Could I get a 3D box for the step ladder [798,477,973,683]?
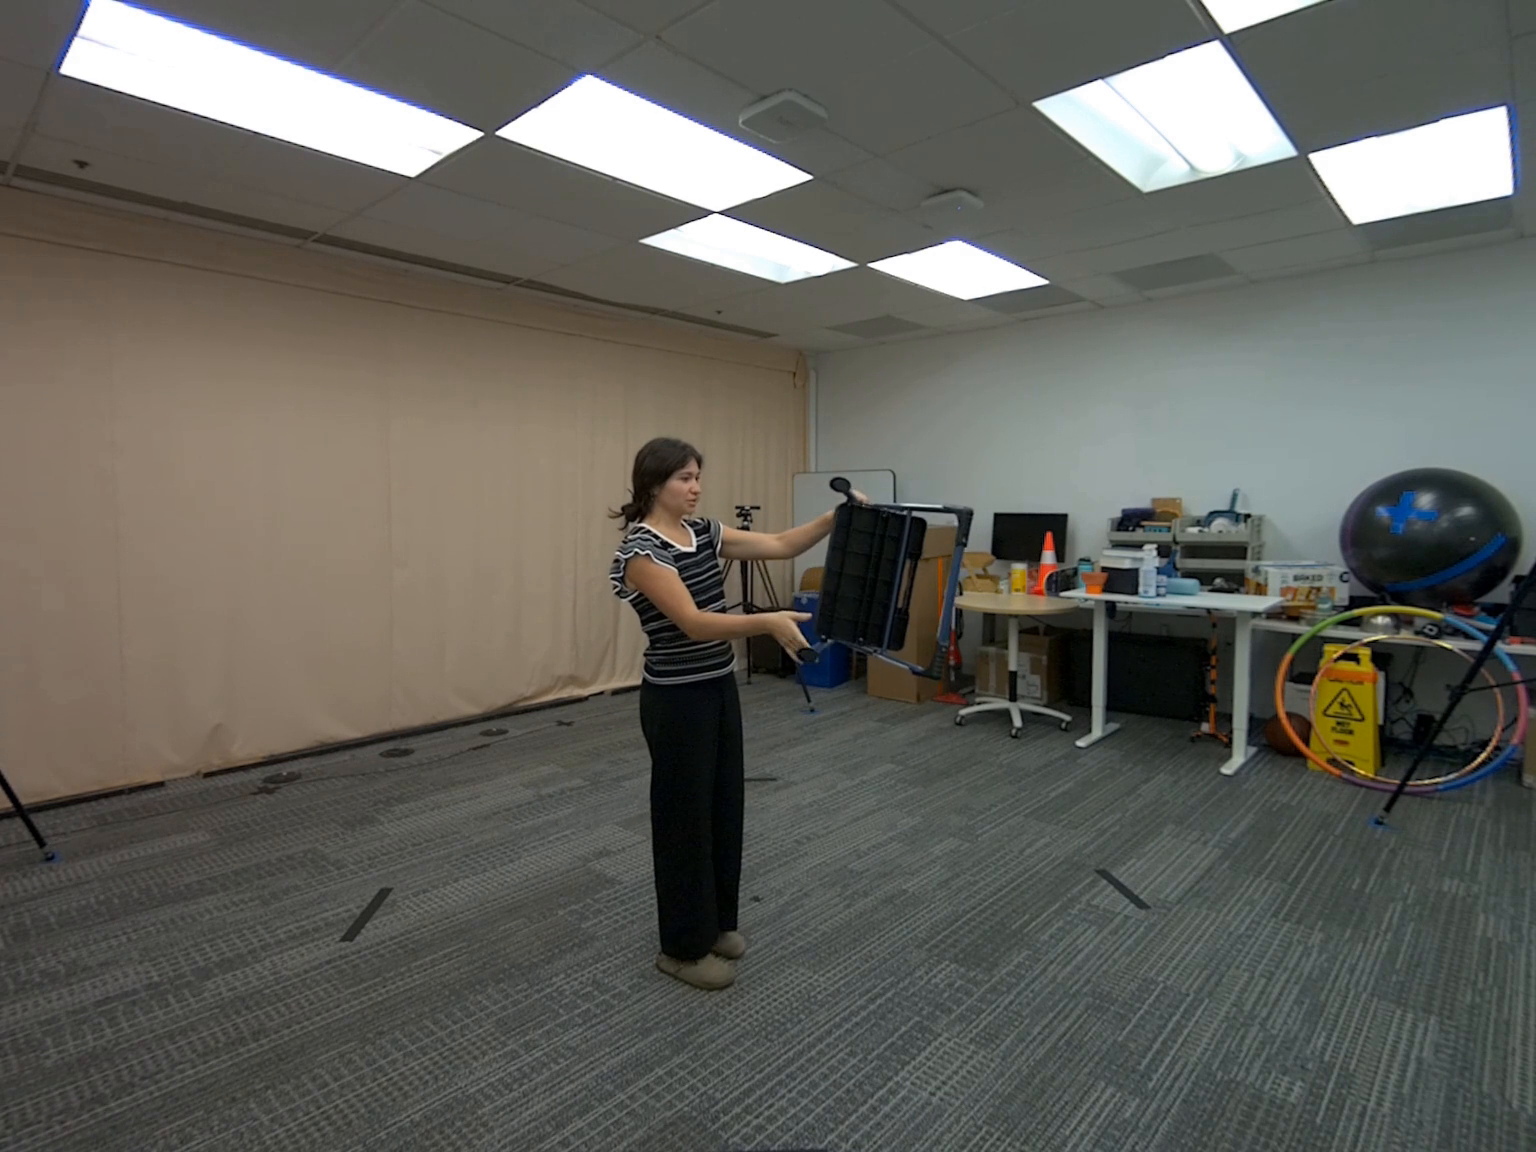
[{"bbox_3d":[0.227,-0.001,2.242,0.346,0.430,0.612,10,2,-9],"label":"step ladder"}]
